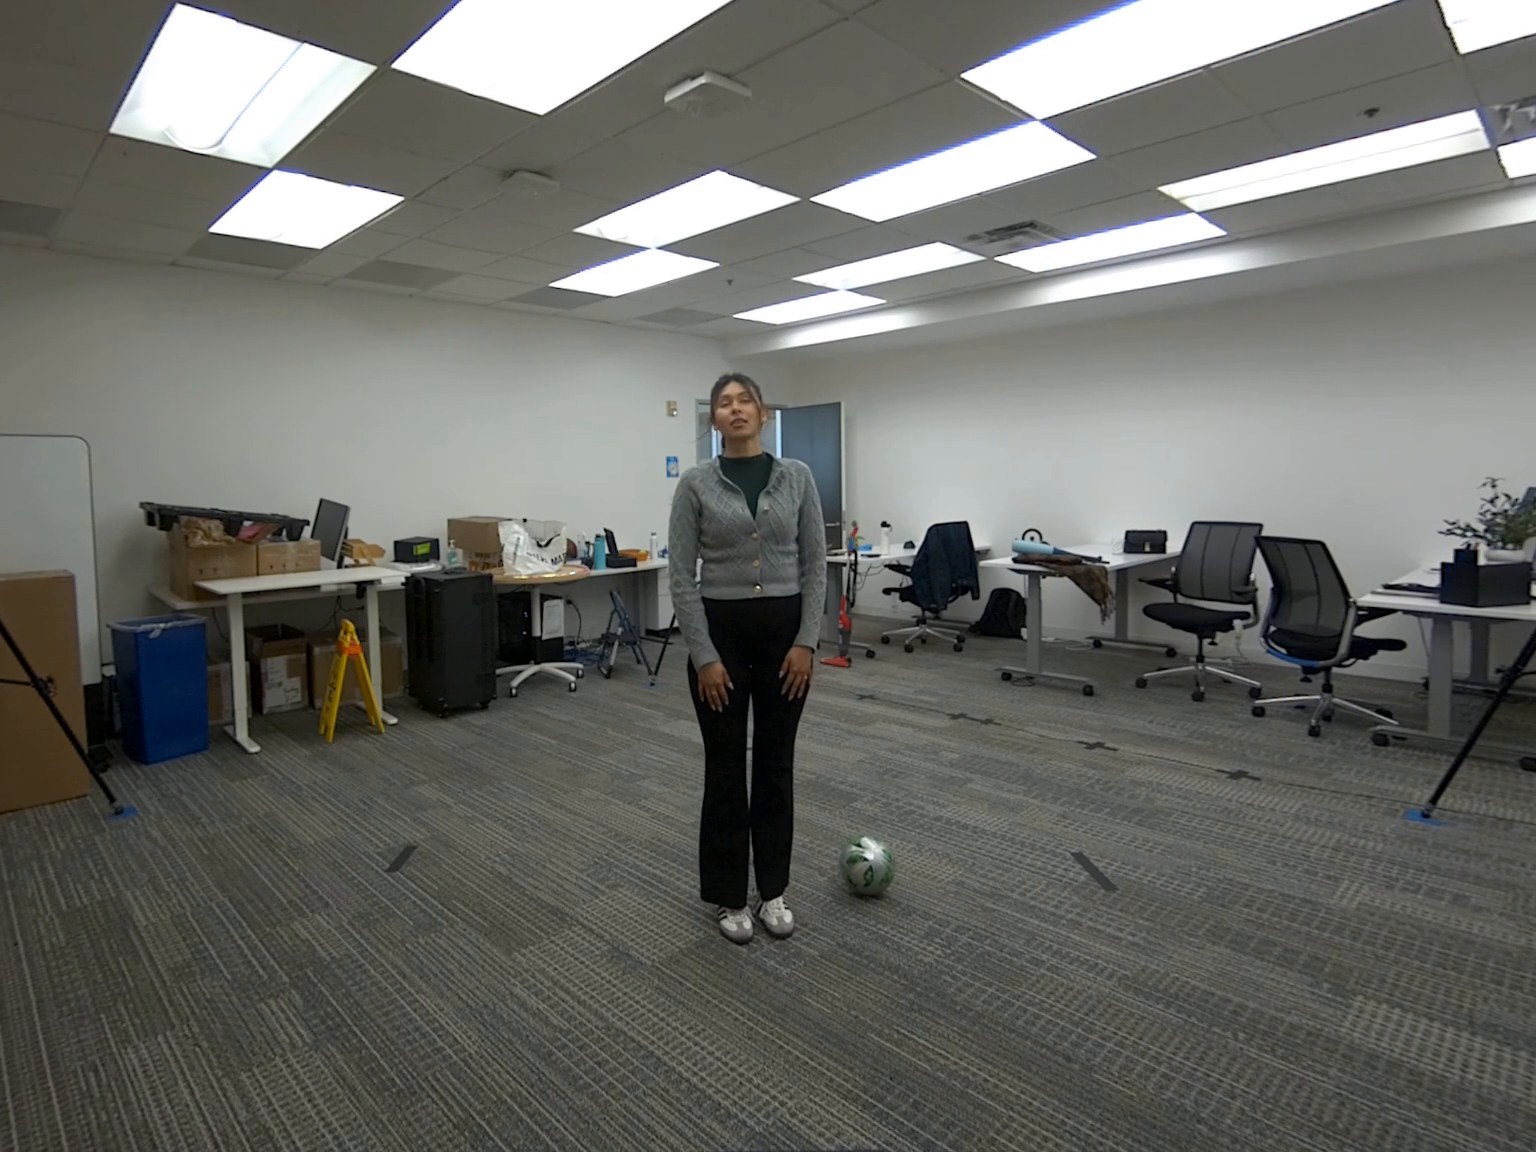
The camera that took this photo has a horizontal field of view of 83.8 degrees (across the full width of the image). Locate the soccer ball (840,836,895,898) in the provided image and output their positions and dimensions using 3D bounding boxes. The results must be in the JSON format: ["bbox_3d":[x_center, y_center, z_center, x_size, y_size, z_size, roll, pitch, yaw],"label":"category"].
[{"bbox_3d":[0.339,0.973,2.868,0.187,0.187,0.188,-1,5,-2],"label":"soccer ball"}]
